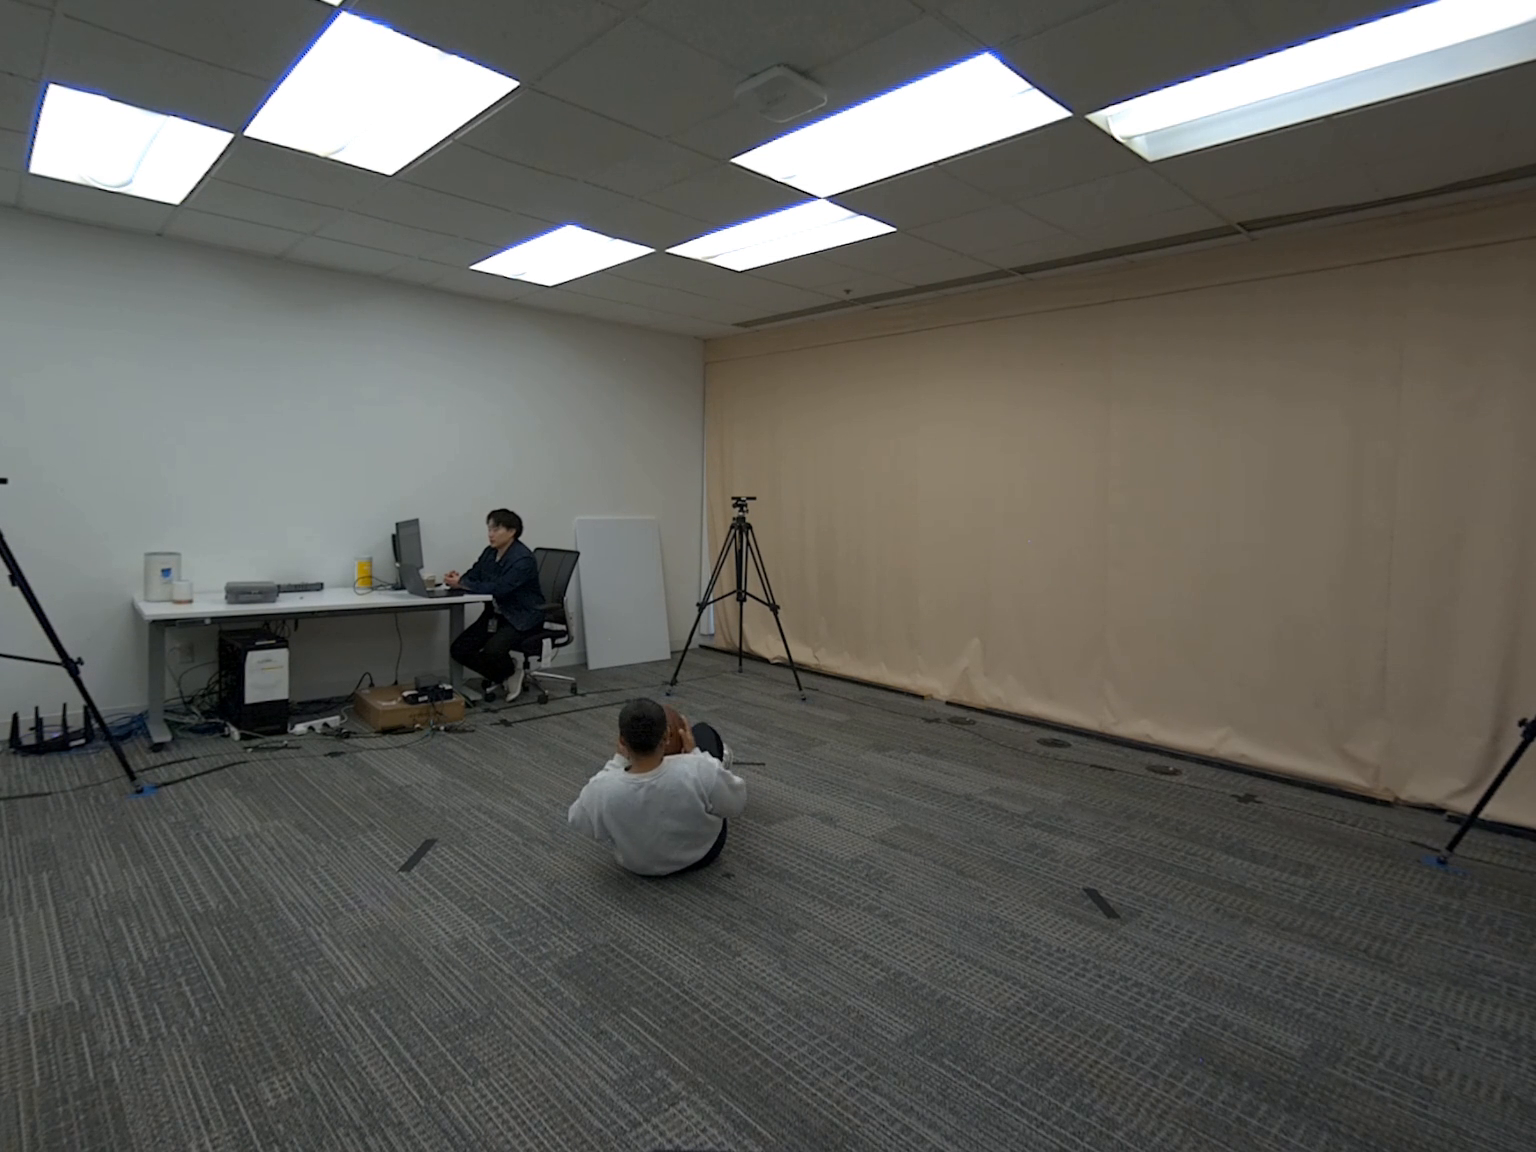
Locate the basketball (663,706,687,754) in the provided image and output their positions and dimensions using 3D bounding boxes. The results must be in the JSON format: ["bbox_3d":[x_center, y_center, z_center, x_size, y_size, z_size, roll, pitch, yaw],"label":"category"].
[{"bbox_3d":[-0.444,0.638,3.246,0.236,0.235,0.237,1,4,-1],"label":"basketball"}]
